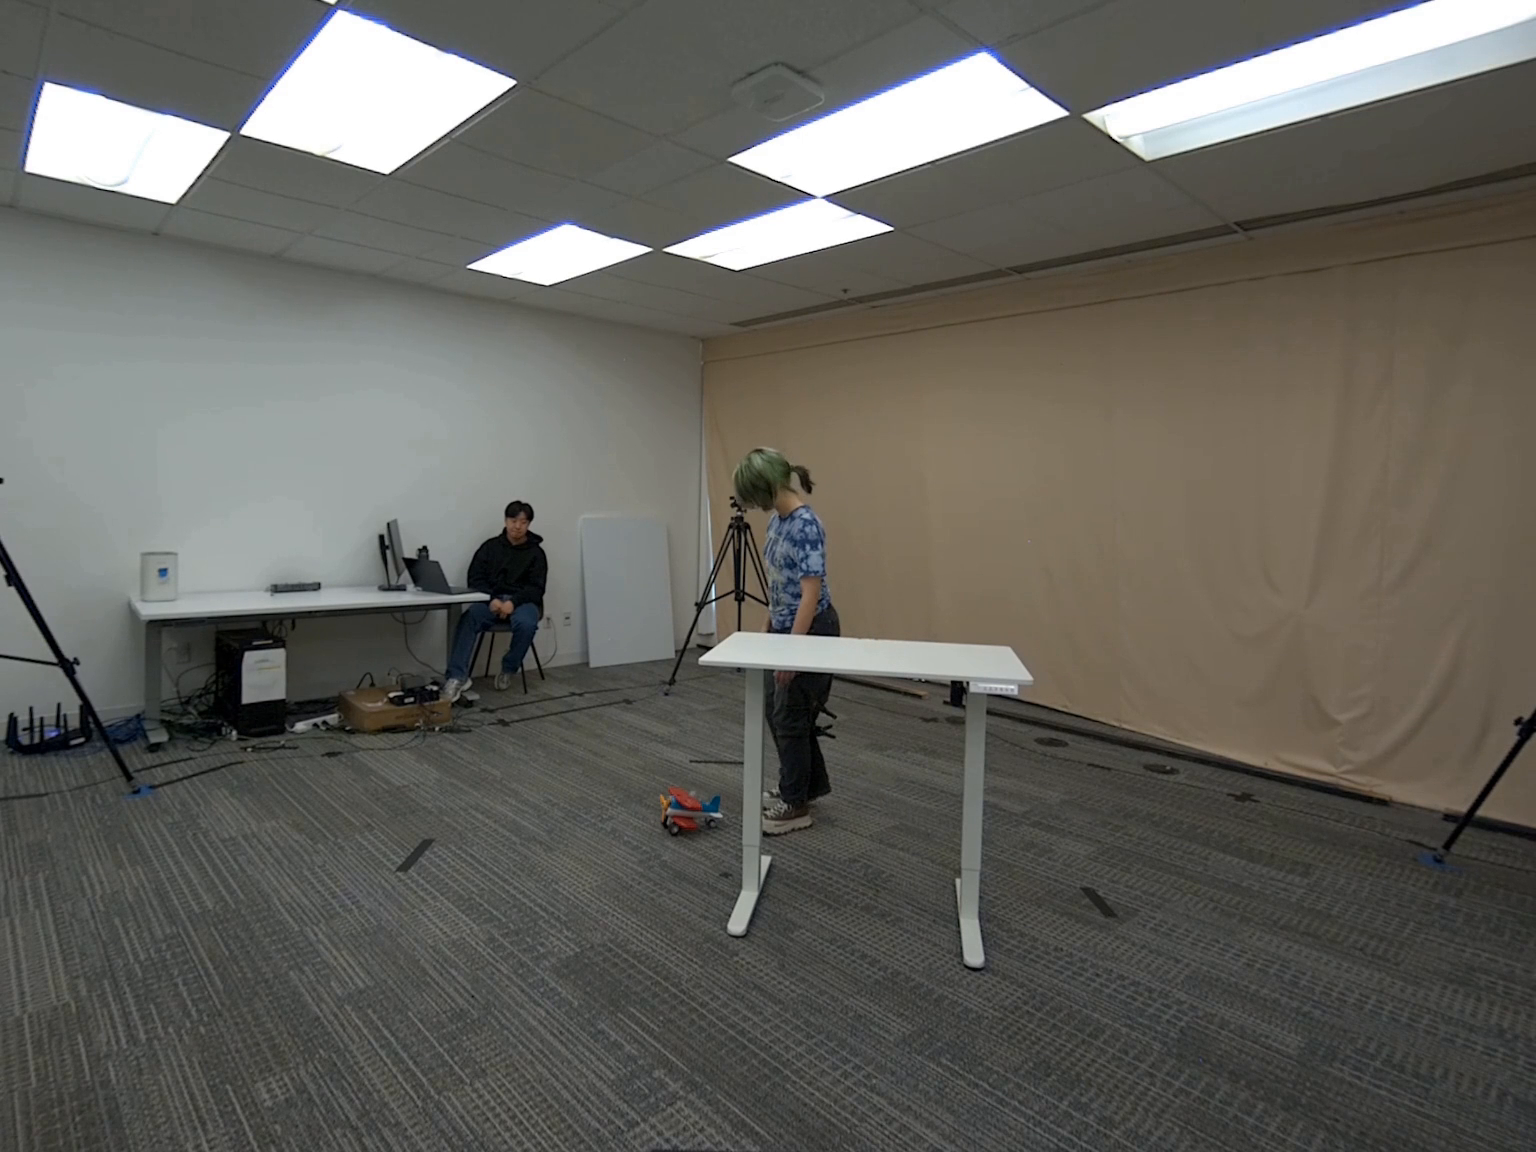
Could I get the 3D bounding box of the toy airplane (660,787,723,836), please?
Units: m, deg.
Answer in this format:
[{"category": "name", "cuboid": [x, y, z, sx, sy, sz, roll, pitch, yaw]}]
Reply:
[{"category": "toy airplane", "cuboid": [-0.342, 0.984, 3.537, 0.257, 0.156, 0.254, 4, 6, 36]}]
